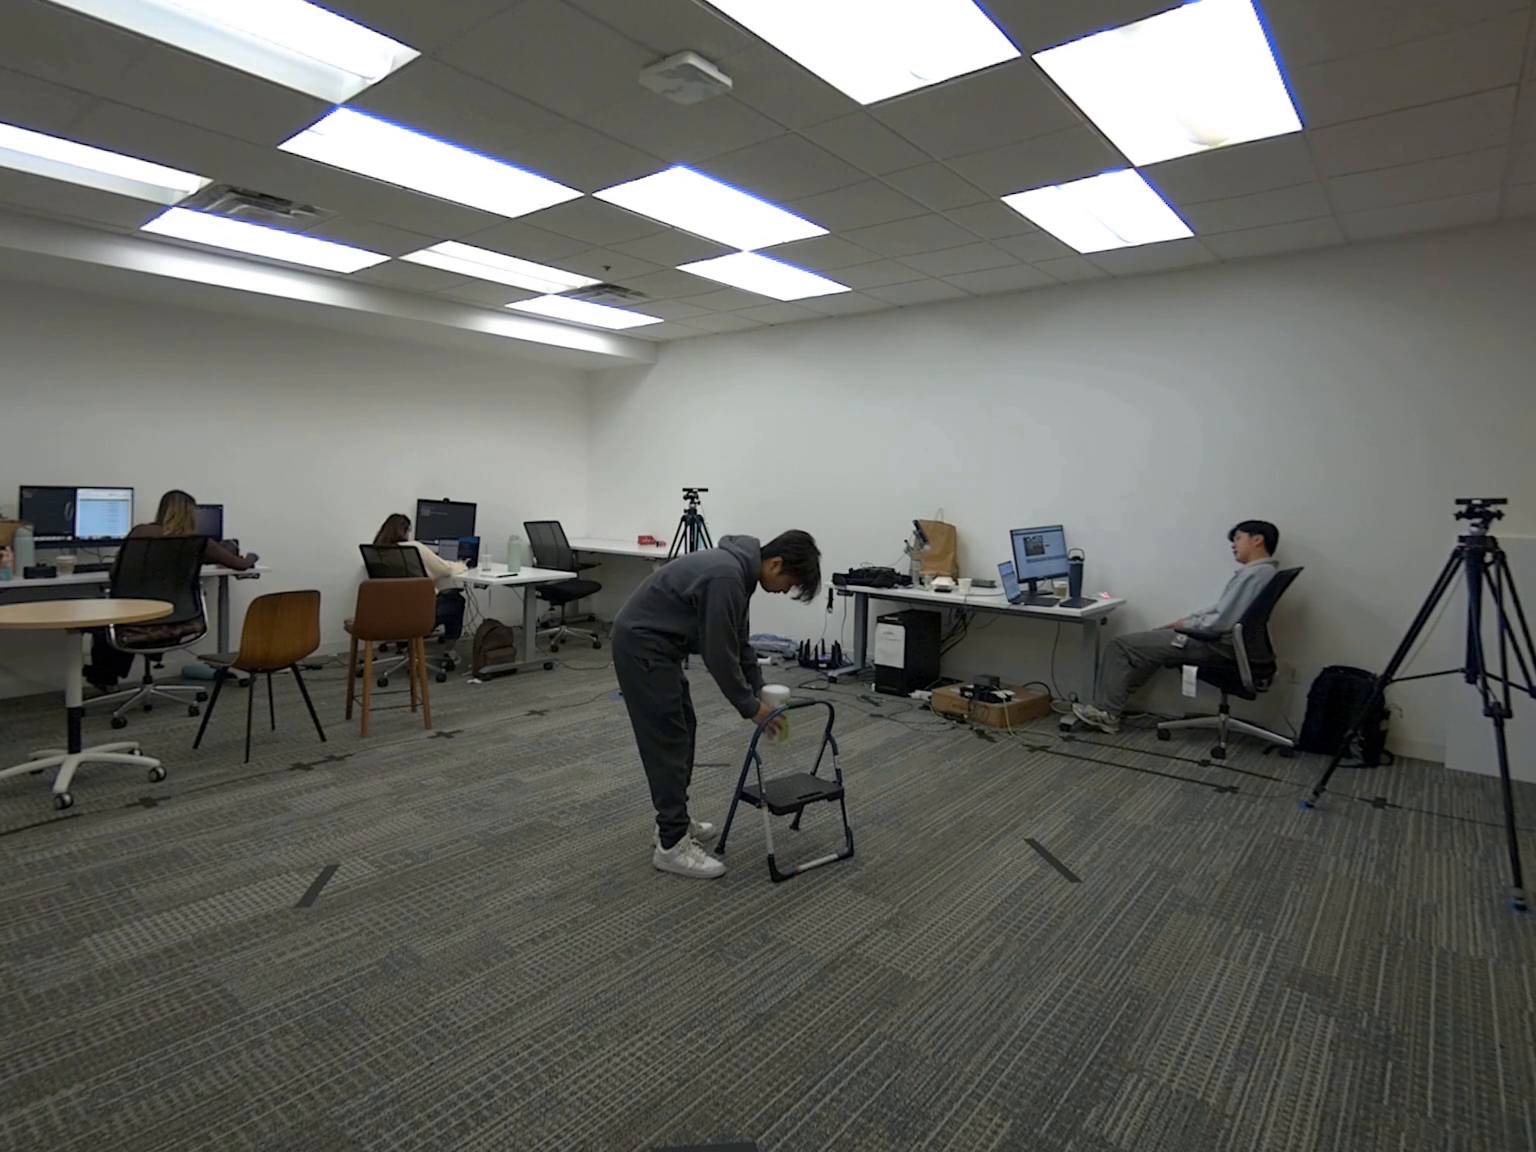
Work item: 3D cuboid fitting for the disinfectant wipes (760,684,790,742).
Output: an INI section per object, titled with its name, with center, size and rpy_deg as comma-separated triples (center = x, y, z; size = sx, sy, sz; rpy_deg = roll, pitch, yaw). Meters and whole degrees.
[disinfectant wipes]
center = 0.020, 0.534, 3.253
size = 0.117, 0.216, 0.119
rpy_deg = 1, 7, -2
